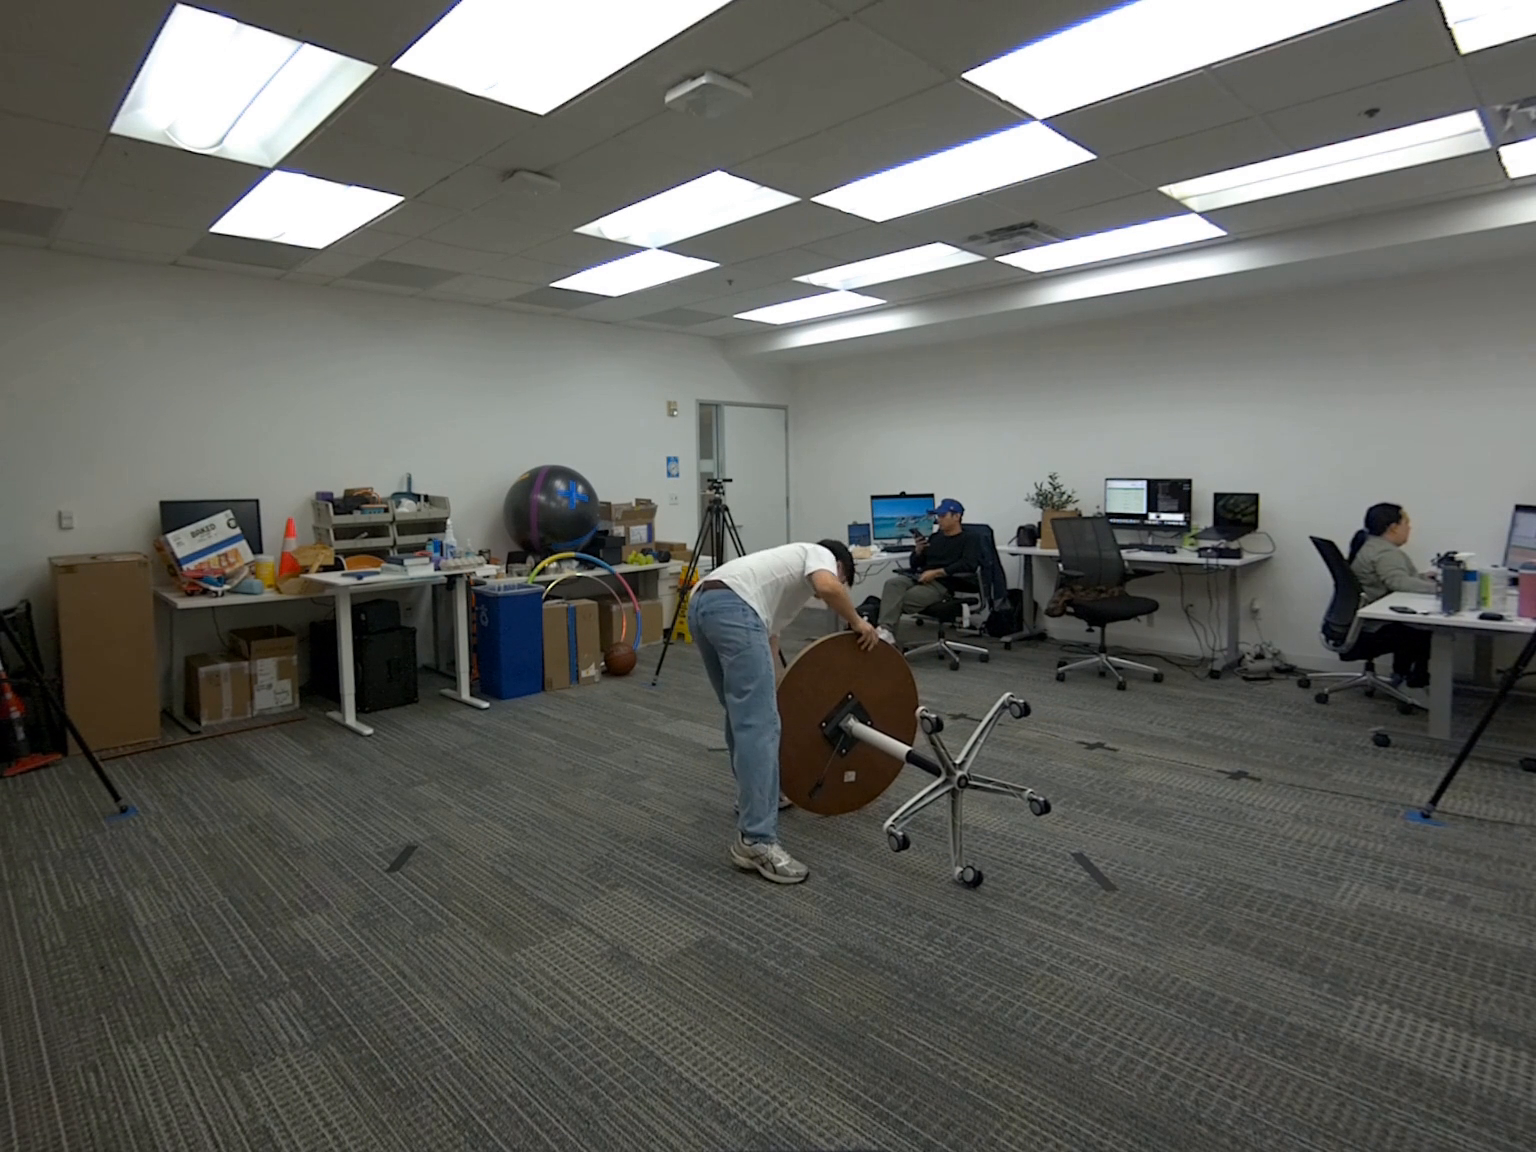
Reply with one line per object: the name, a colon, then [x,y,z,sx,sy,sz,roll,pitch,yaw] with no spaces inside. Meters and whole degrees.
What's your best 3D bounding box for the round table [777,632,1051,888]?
round table: [0.512,0.665,3.191,0.747,0.759,0.817,-3,8,-28]
